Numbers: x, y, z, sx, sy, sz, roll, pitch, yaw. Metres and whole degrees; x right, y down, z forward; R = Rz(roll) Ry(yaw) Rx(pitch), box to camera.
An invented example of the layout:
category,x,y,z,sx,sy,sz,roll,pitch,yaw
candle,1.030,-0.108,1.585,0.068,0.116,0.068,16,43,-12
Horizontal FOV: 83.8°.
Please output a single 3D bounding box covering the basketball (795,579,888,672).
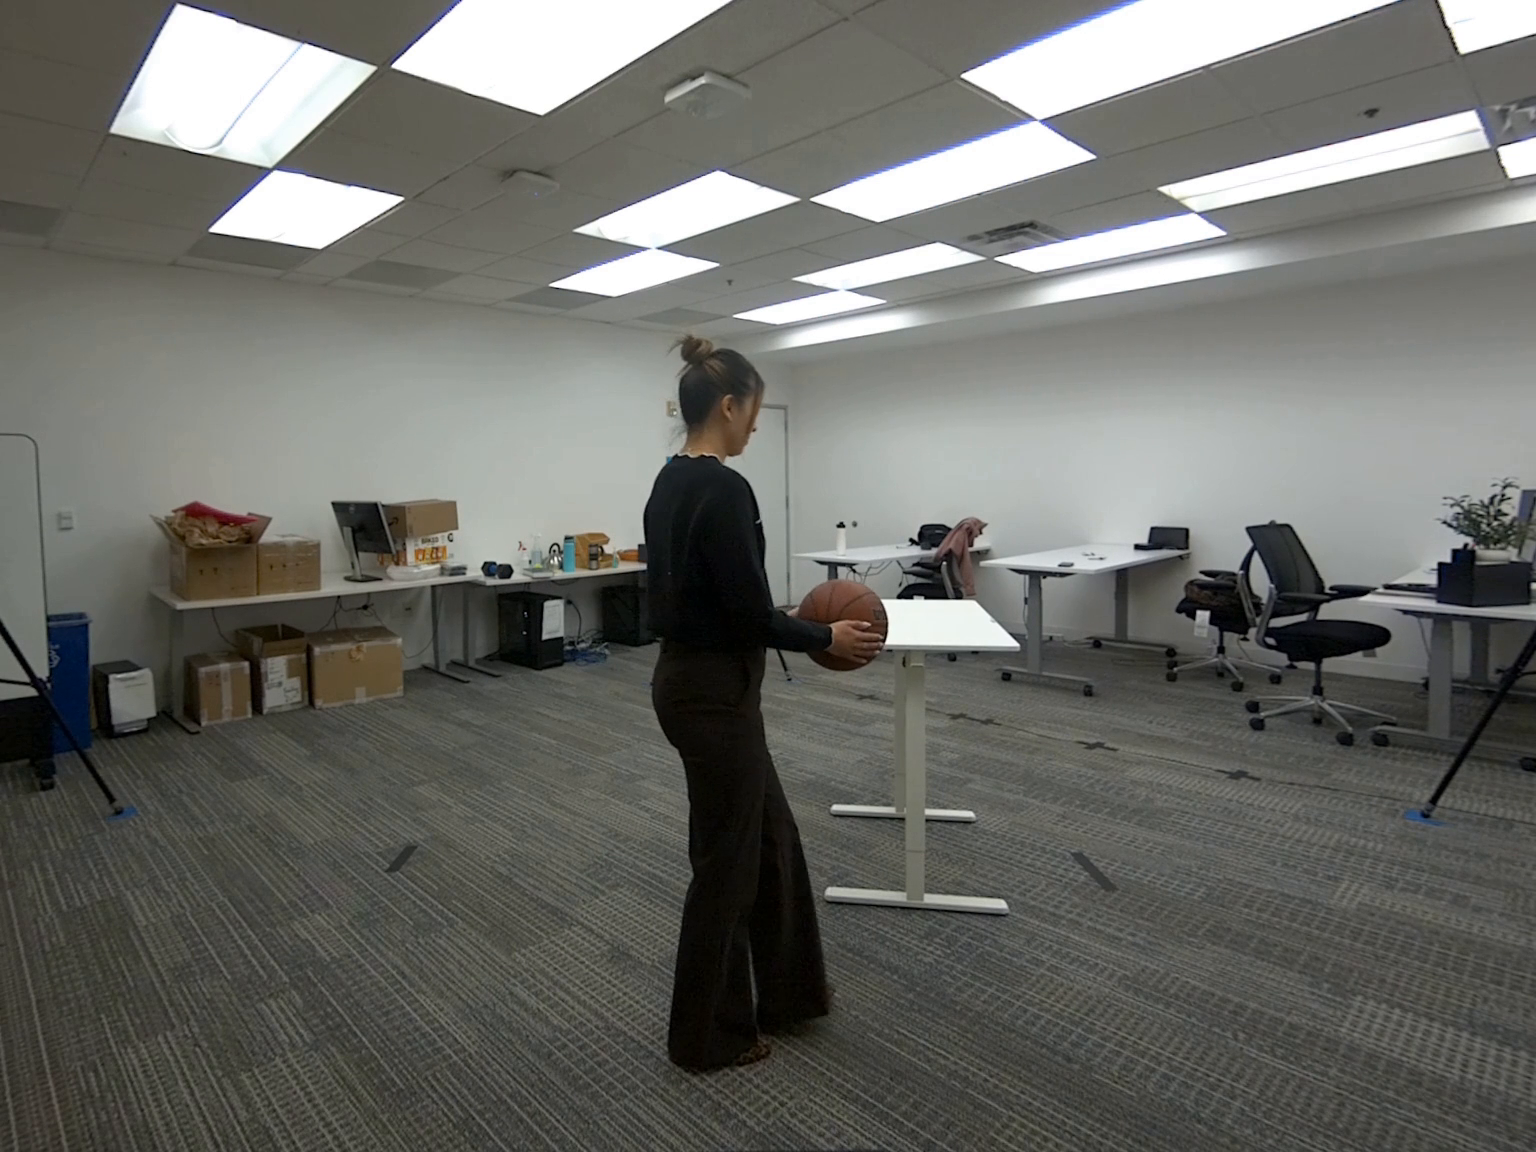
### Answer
category,x,y,z,sx,sy,sz,roll,pitch,yaw
basketball,0.192,0.126,2.196,0.236,0.235,0.237,-1,5,-2
